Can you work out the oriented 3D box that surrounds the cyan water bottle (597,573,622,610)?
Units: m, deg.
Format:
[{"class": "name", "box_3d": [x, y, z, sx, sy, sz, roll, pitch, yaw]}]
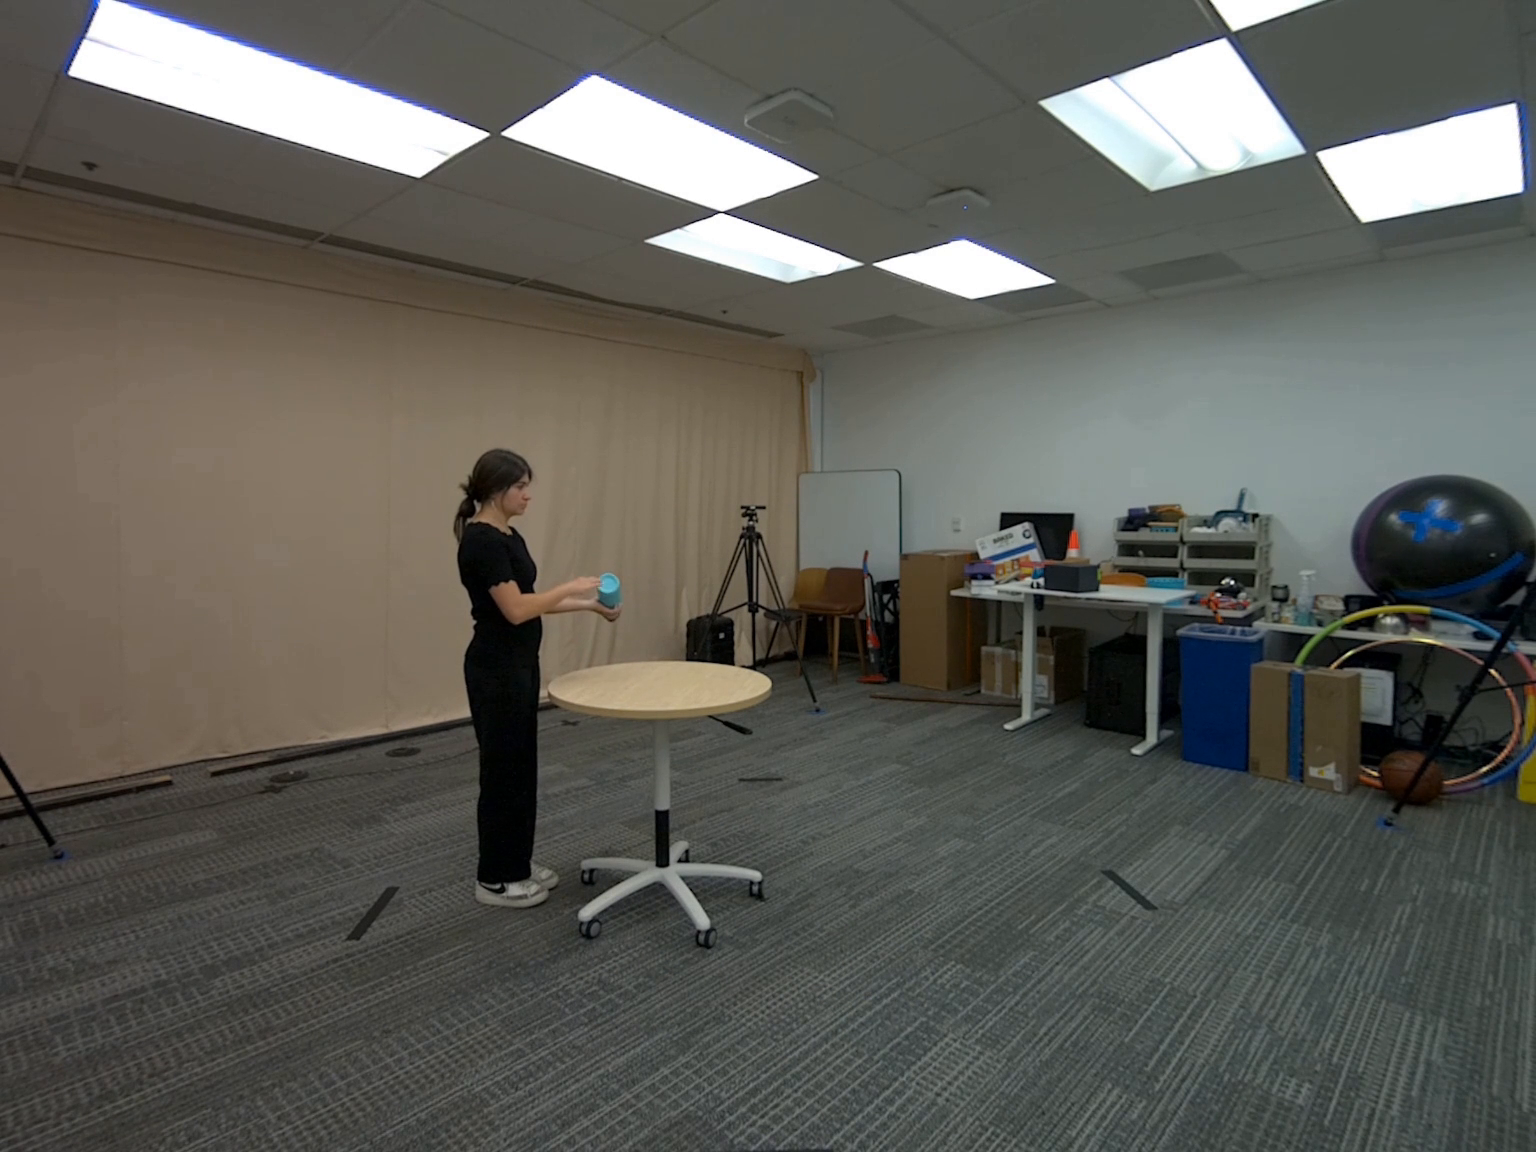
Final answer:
[{"class": "cyan water bottle", "box_3d": [-0.638, 0.091, 3.366, 0.092, 0.093, 0.279, 1, -25, -2]}]
